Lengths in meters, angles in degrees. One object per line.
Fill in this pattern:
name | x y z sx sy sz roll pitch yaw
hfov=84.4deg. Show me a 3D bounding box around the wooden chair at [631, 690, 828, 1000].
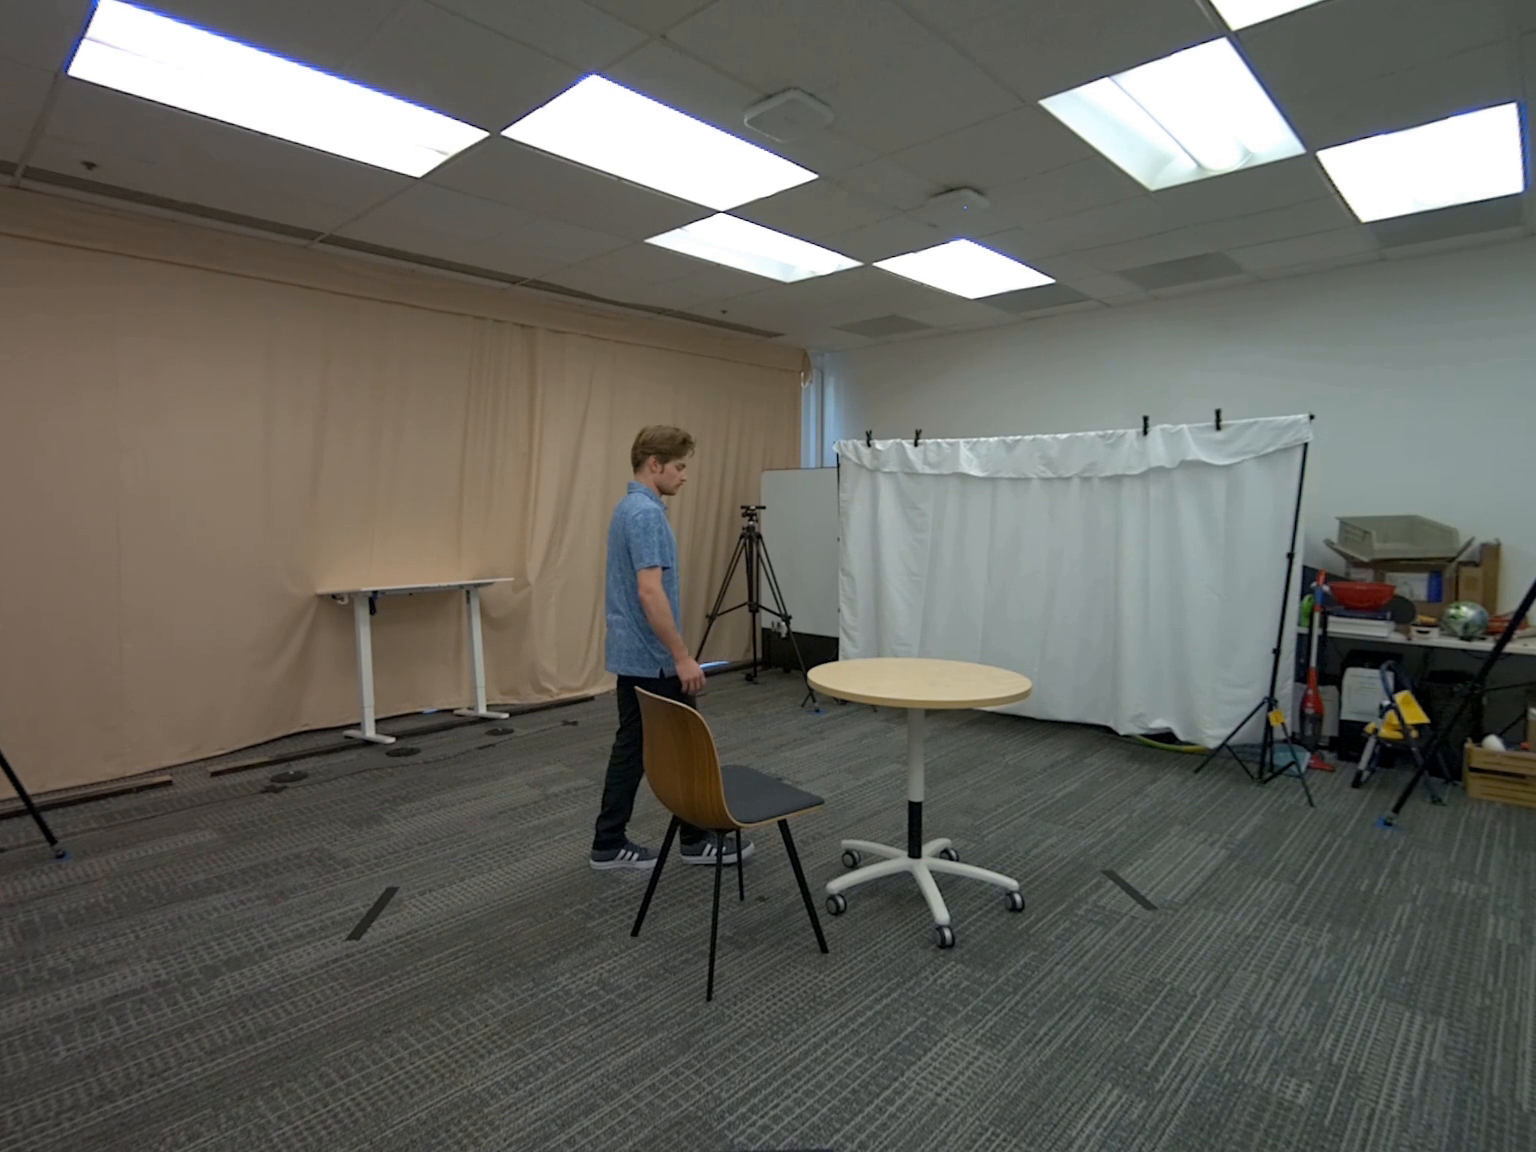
wooden chair | -0.118 0.744 2.651 0.509 0.874 0.493 -8 7 -36
